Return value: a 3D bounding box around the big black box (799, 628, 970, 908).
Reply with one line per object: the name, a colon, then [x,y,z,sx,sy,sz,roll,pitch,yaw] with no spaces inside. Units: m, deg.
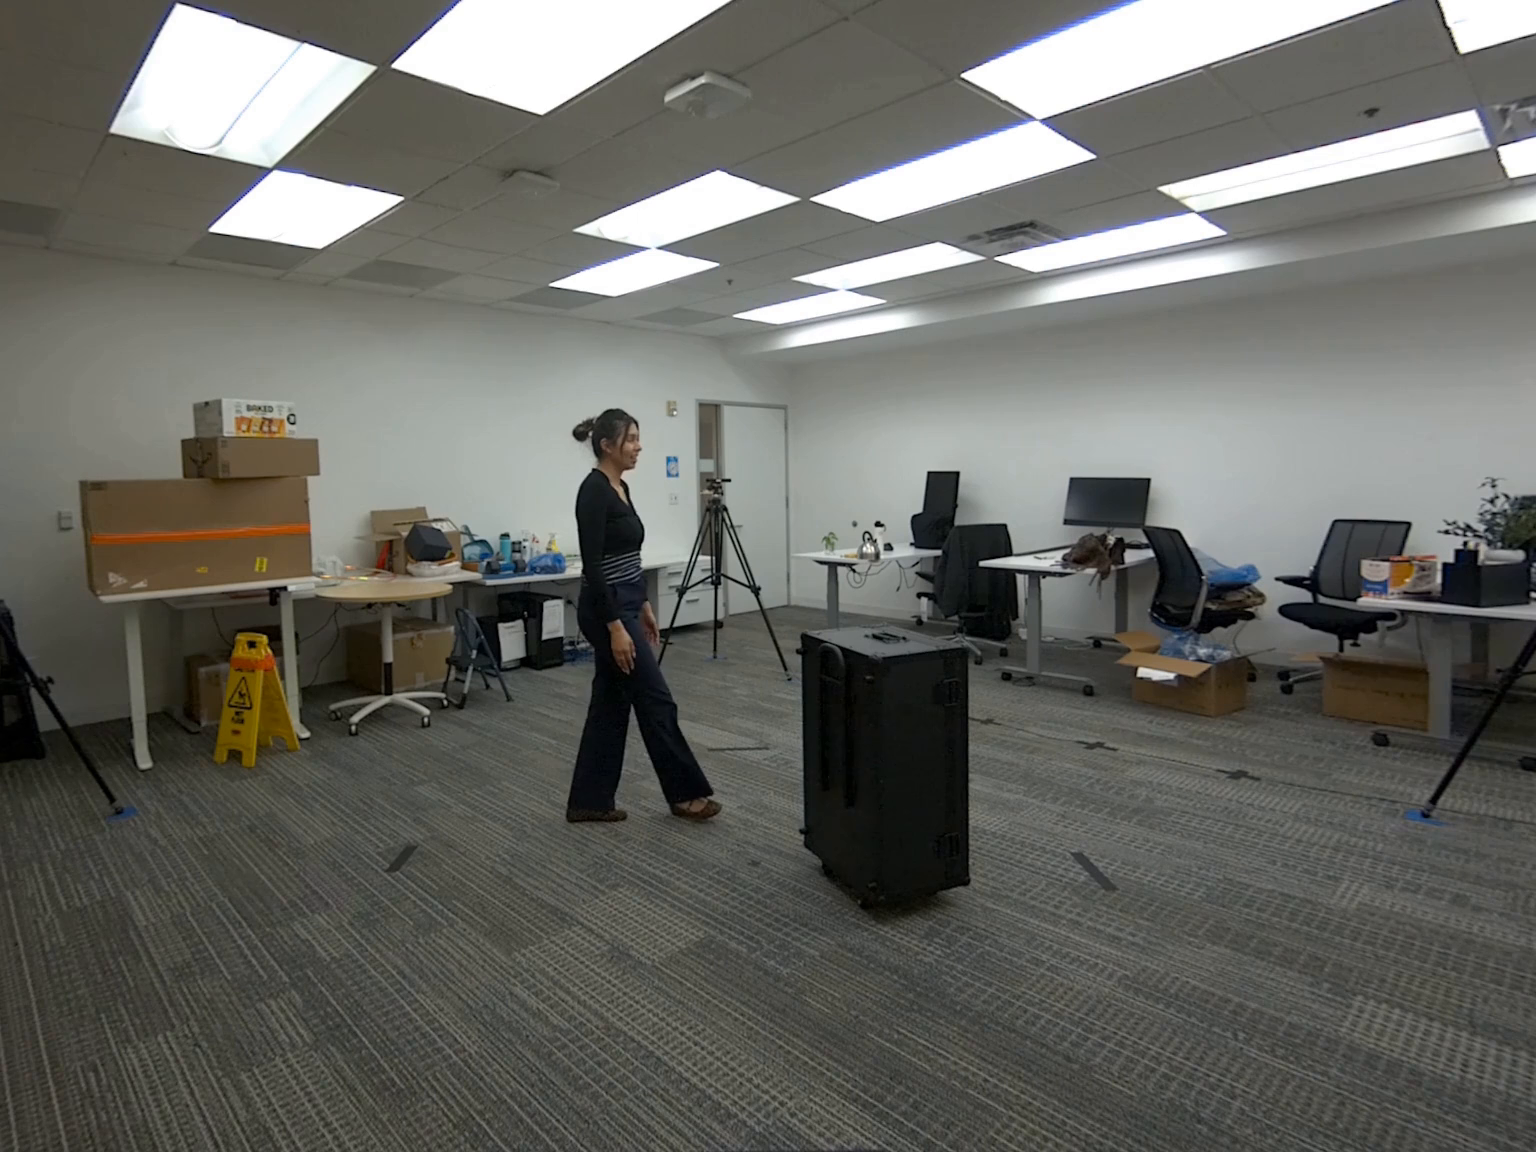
big black box: [0.381,0.633,2.887,0.388,0.858,0.534,-3,5,-24]
